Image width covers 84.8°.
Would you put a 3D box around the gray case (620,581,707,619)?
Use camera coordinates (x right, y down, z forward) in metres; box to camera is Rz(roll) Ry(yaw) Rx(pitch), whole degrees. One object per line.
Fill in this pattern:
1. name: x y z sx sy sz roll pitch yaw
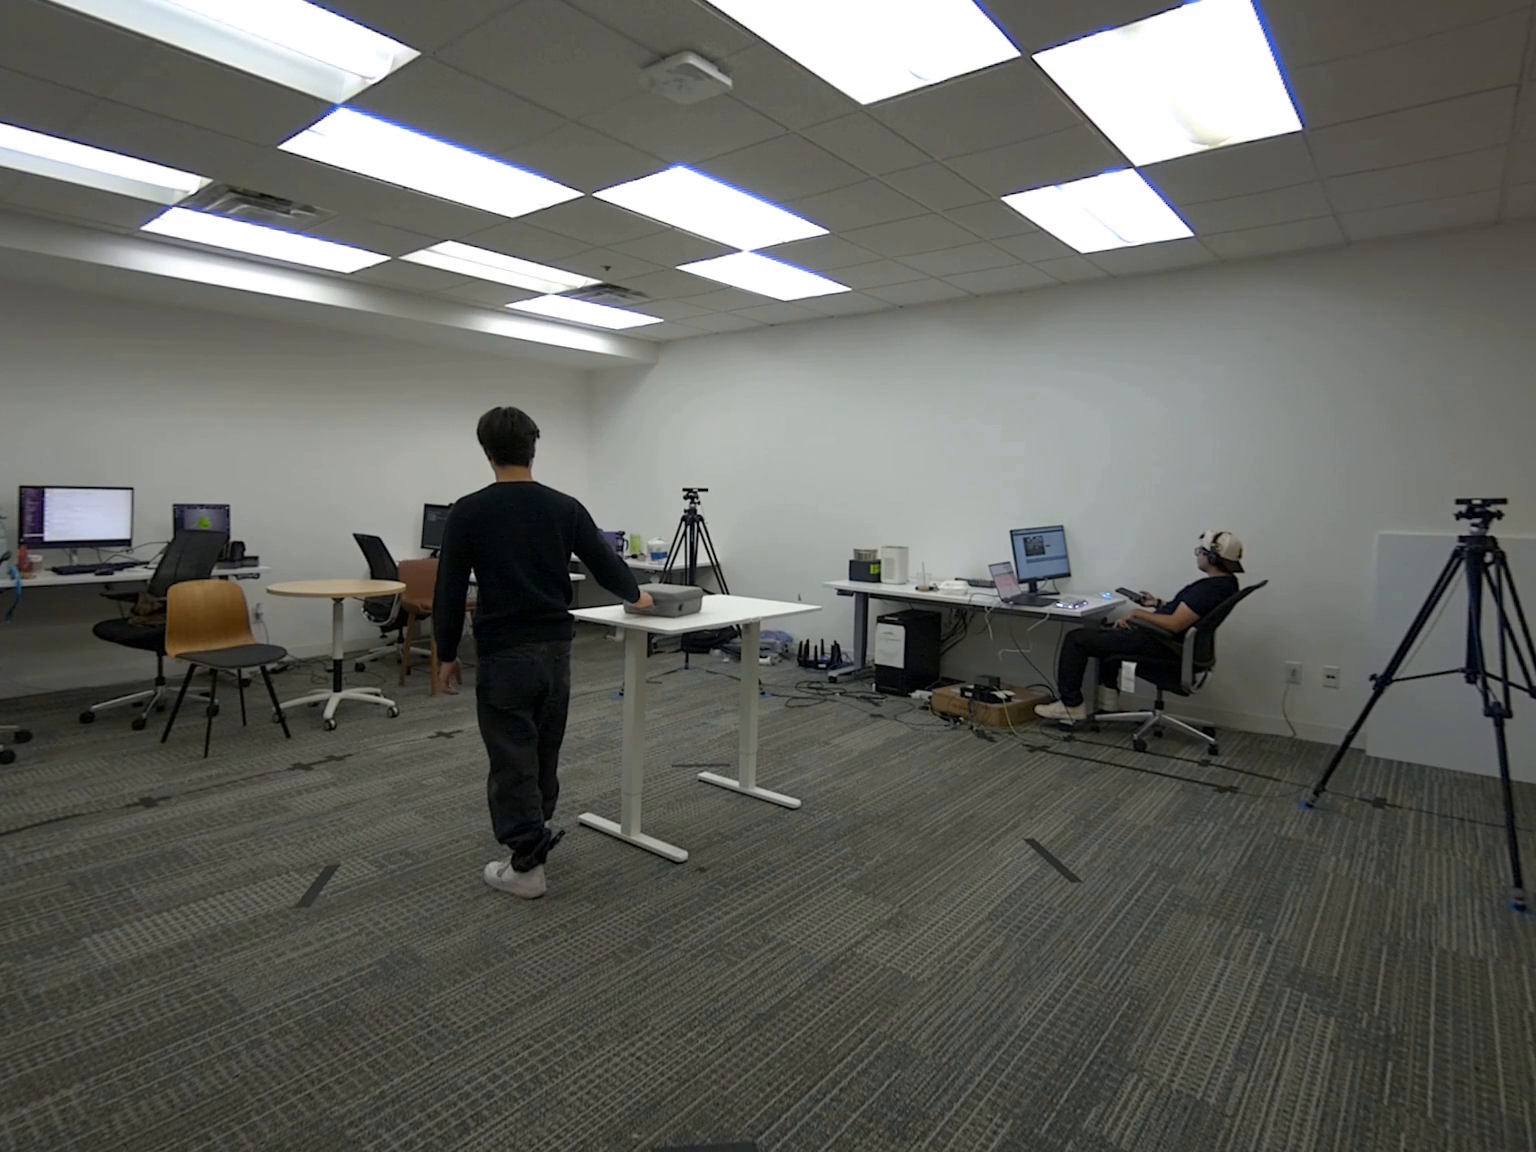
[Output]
1. gray case: -0.430 0.092 3.467 0.264 0.104 0.255 4 6 26
